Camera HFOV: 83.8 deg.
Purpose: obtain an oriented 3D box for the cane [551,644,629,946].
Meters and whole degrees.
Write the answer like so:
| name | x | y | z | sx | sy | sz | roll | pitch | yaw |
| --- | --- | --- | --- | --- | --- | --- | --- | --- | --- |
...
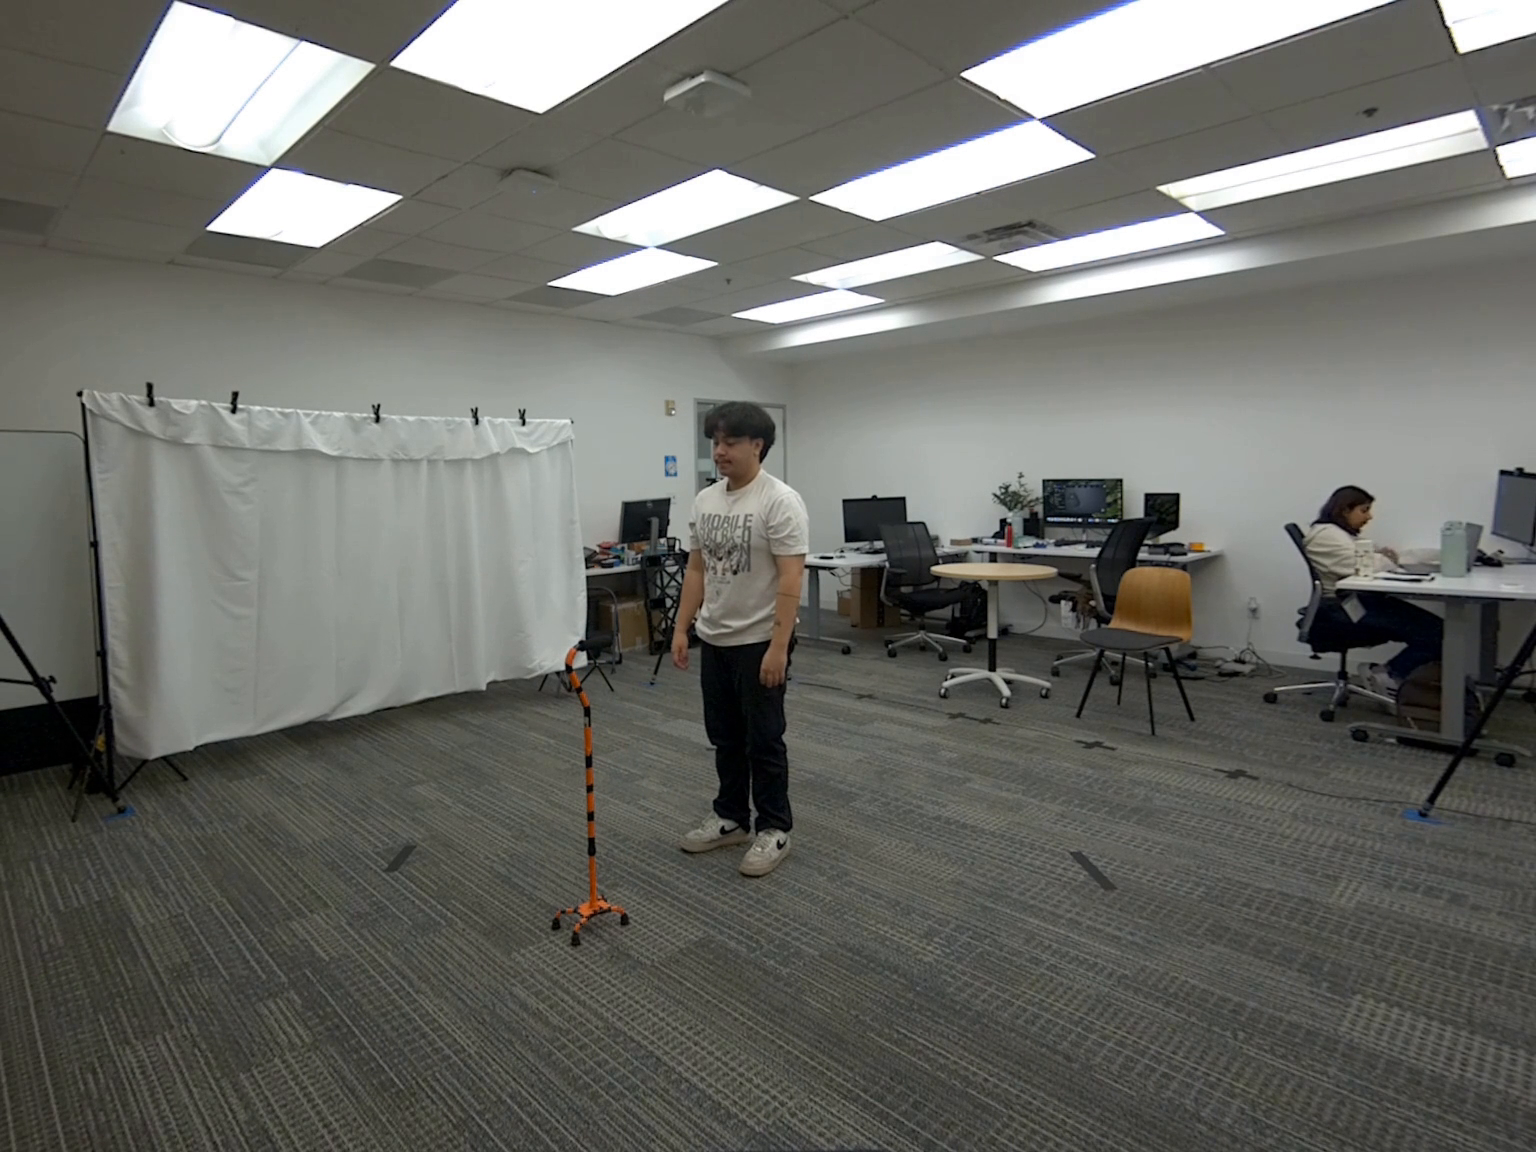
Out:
| name | x | y | z | sx | sy | sz | roll | pitch | yaw |
| --- | --- | --- | --- | --- | --- | --- | --- | --- | --- |
| cane | -0.560 | 0.650 | 2.657 | 0.201 | 0.904 | 0.156 | -5 | 6 | -43 |
